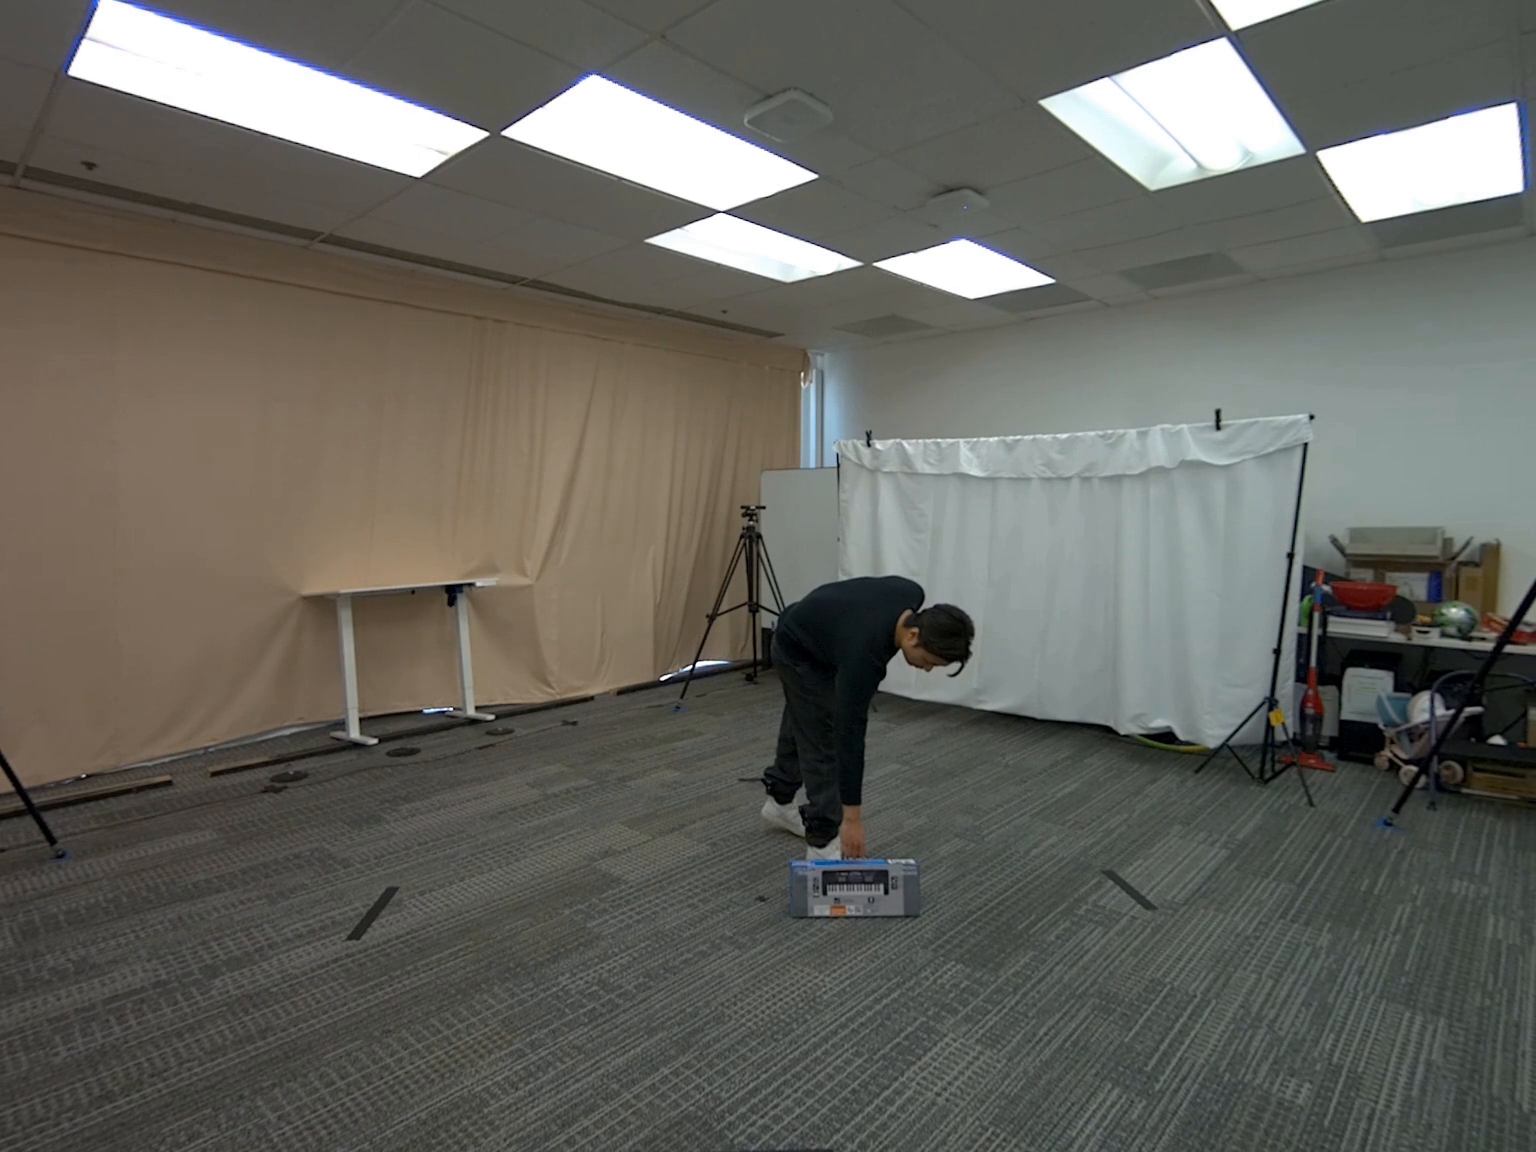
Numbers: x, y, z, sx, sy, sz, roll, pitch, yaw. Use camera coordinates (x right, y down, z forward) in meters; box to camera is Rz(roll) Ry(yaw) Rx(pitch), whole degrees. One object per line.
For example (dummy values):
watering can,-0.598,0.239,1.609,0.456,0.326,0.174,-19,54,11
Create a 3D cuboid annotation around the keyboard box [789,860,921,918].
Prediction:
keyboard box,0.301,1.061,2.868,0.436,0.176,0.059,1,-3,-1
